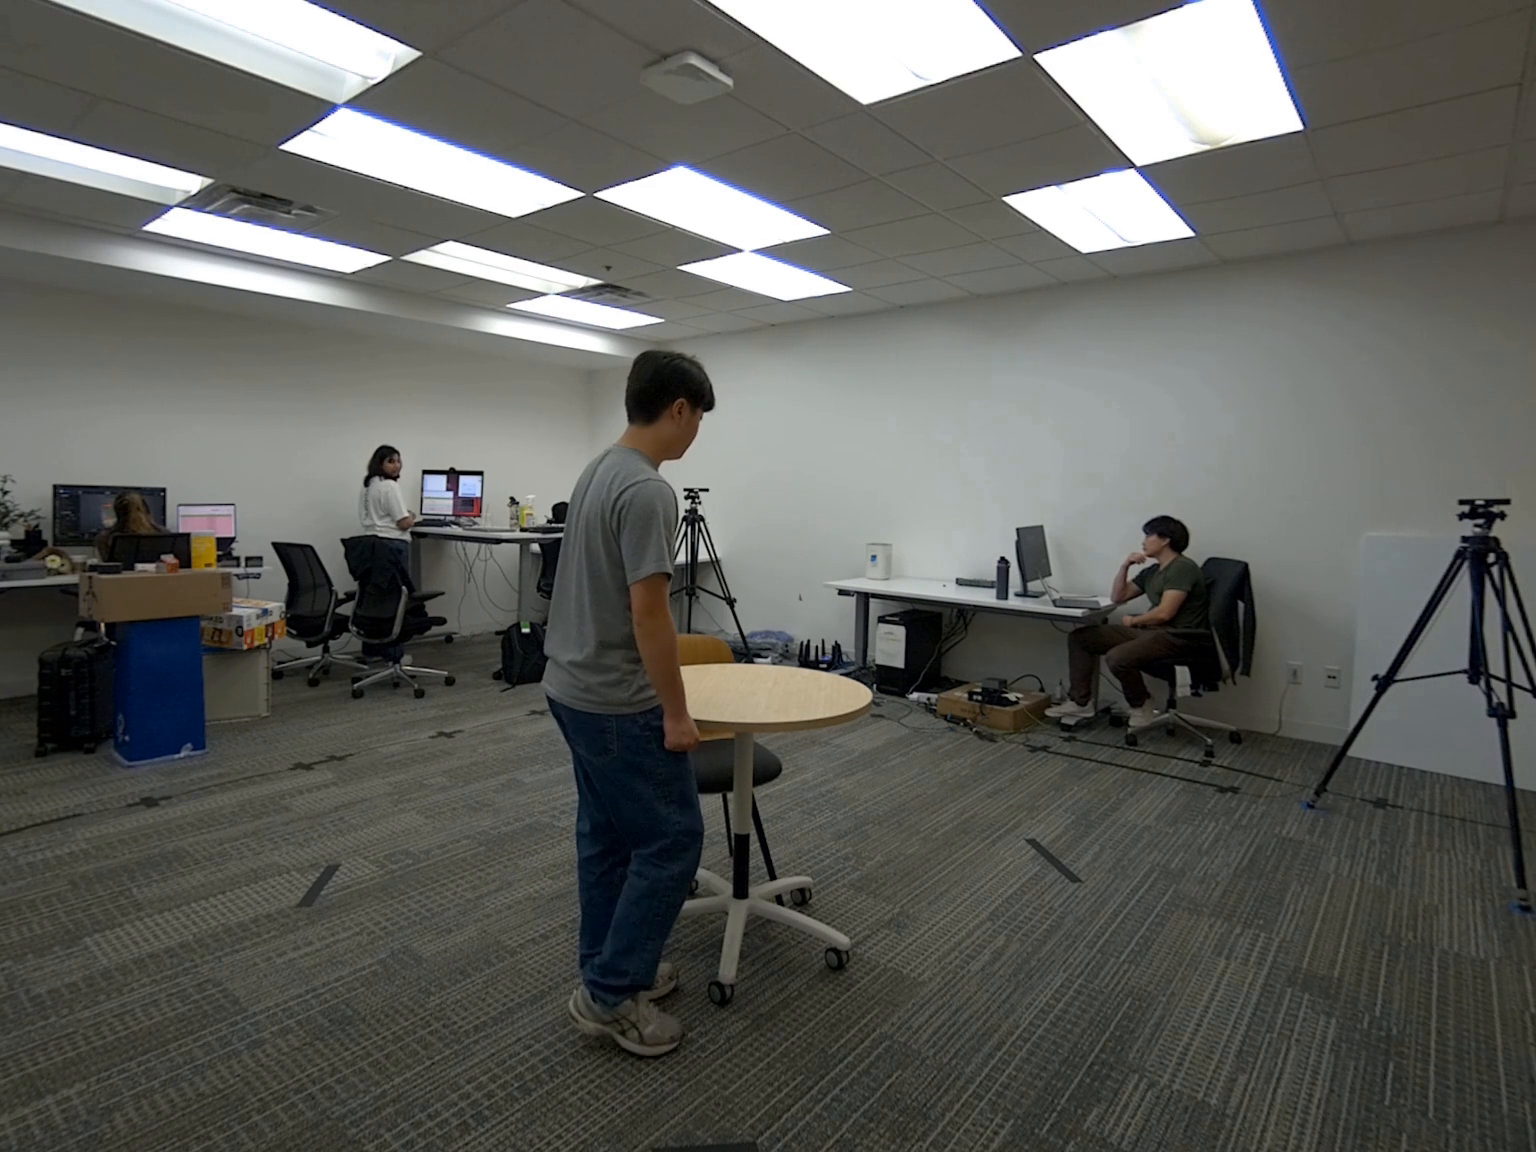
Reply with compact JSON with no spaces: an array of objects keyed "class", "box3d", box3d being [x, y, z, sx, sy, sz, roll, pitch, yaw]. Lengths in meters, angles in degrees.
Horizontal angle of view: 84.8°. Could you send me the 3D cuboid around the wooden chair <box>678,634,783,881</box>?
[{"class":"wooden chair","box3d":[-0.244,0.656,2.913,0.468,0.878,0.534,0,-1,-23]}]
